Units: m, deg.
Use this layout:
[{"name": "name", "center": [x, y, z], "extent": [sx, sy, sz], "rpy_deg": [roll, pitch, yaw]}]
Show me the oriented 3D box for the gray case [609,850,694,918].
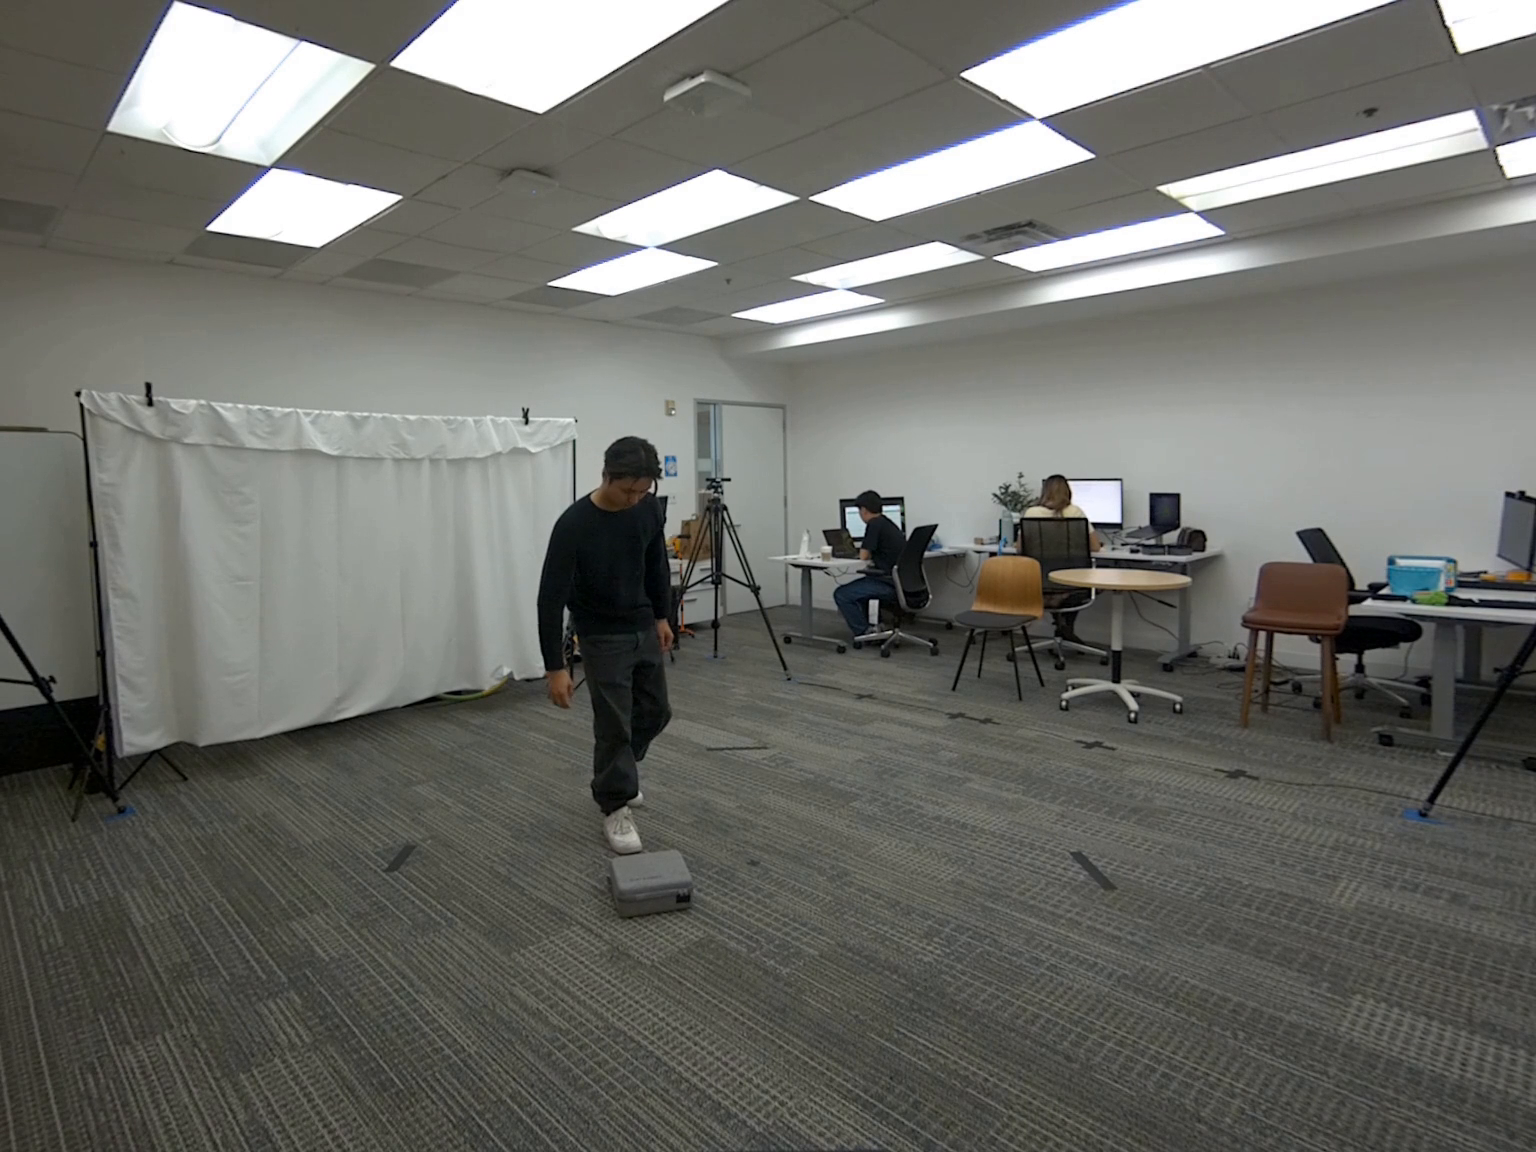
[{"name": "gray case", "center": [-0.392, 1.018, 2.863], "extent": [0.253, 0.104, 0.265], "rpy_deg": [-4, 5, -15]}]
